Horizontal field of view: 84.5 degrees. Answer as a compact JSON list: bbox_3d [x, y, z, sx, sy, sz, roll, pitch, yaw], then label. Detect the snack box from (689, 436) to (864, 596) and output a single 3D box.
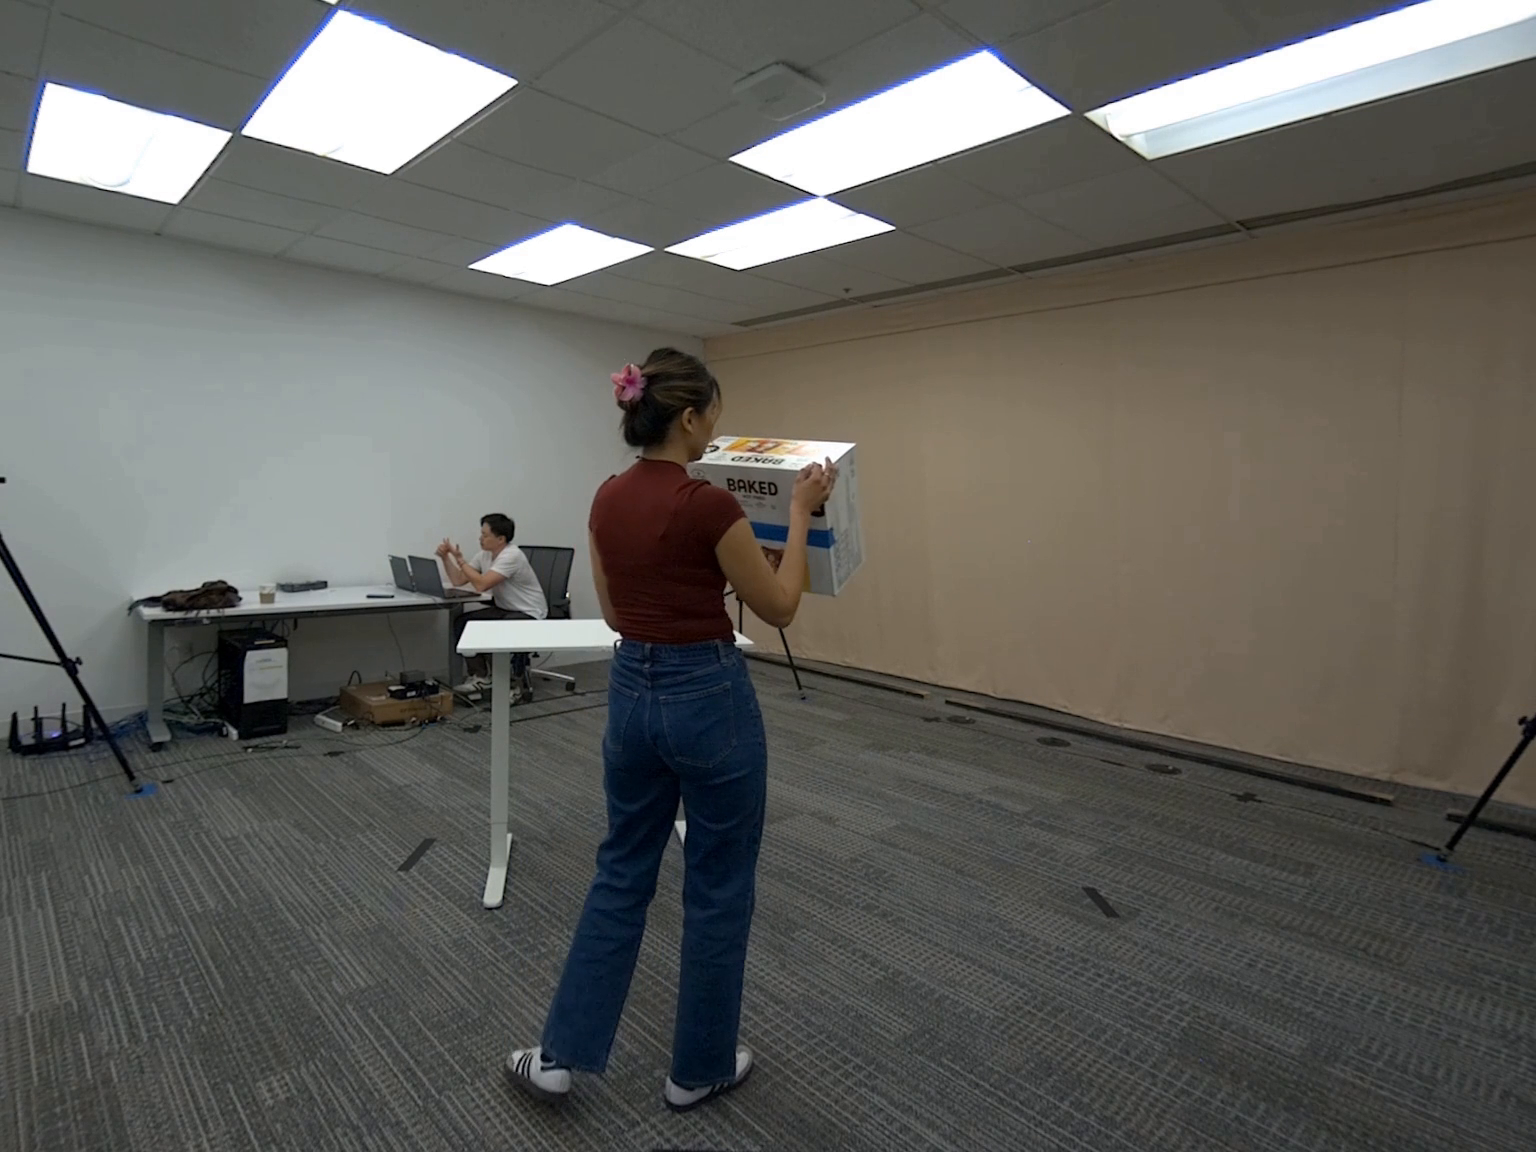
[{"bbox_3d":[0.009,-0.165,2.207,0.414,0.333,0.205,8,31,30],"label":"snack box"}]
